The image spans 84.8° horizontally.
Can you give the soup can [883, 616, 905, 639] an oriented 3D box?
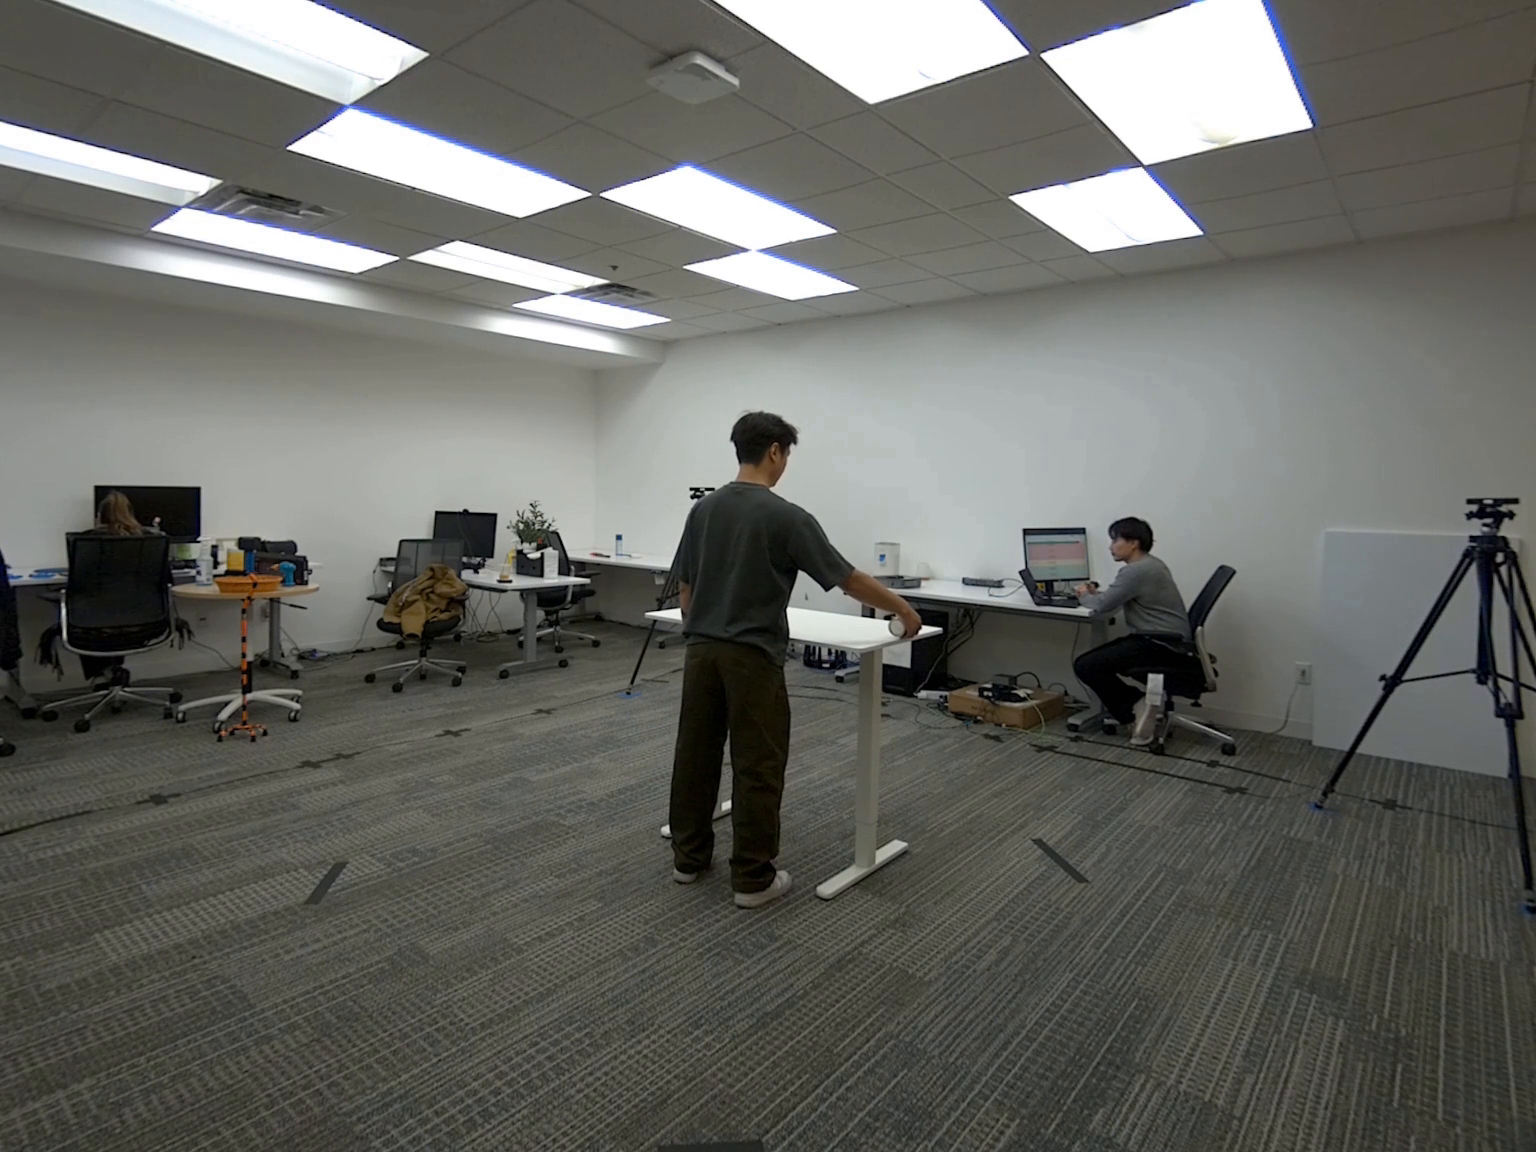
[{"bbox_3d":[0.471,0.170,2.983,0.118,0.067,0.069,-10,10,-38],"label":"soup can"}]
